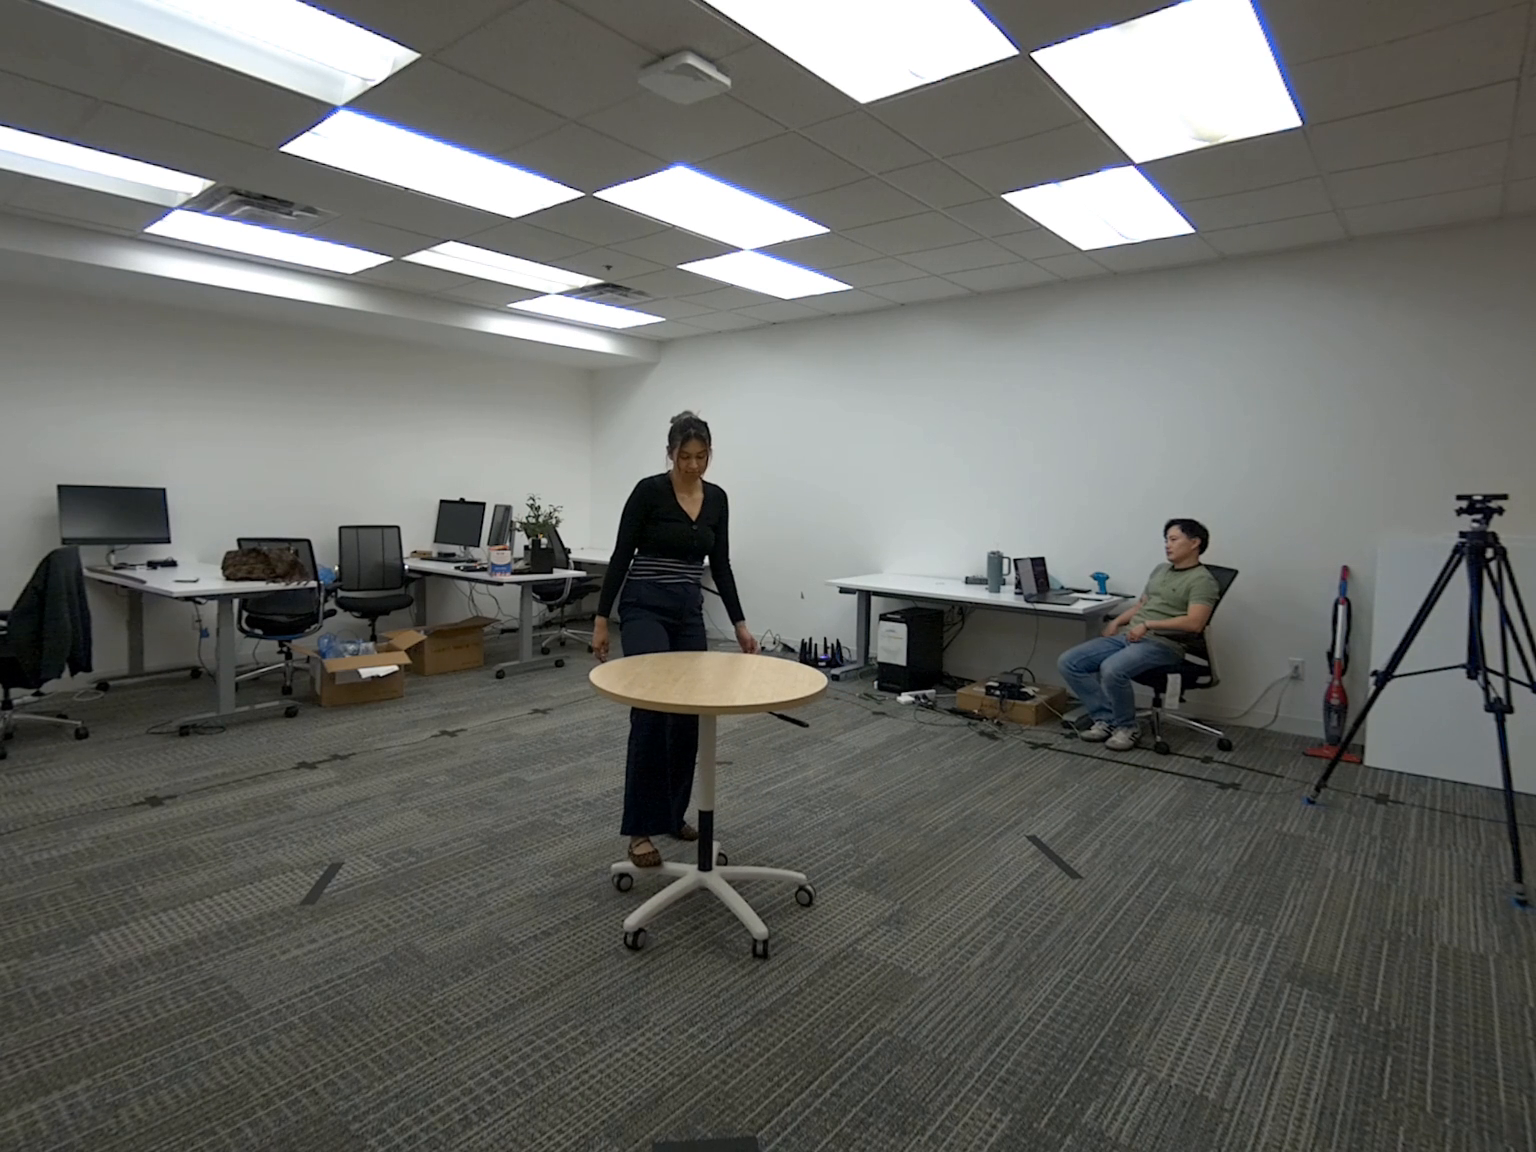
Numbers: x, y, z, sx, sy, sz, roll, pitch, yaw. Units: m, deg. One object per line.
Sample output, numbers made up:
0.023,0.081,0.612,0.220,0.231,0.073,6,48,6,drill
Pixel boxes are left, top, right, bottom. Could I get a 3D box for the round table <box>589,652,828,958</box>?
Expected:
-0.204,0.709,2.779,0.763,0.791,0.768,1,5,-2,round table
